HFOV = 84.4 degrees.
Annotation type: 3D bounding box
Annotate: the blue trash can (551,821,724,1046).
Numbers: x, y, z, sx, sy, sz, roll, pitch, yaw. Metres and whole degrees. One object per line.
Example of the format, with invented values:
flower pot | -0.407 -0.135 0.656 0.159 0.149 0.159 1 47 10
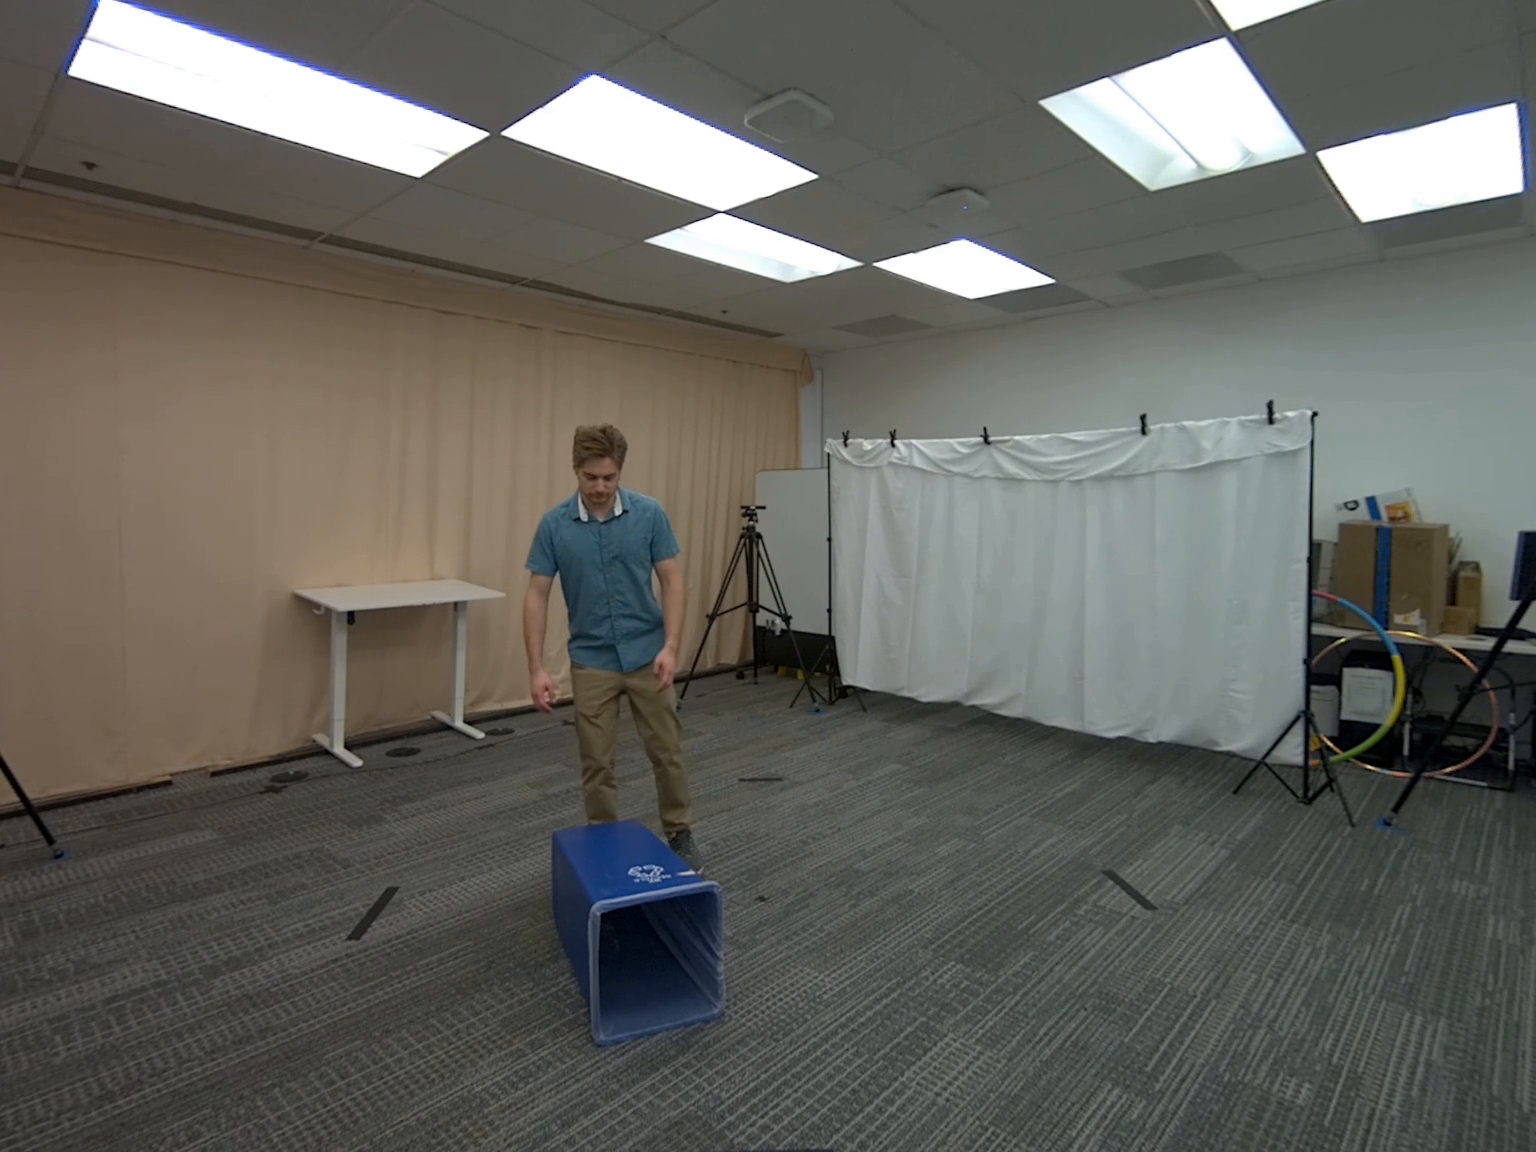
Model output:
blue trash can | -0.432 1.016 2.551 0.365 0.378 0.731 -2 2 -25
